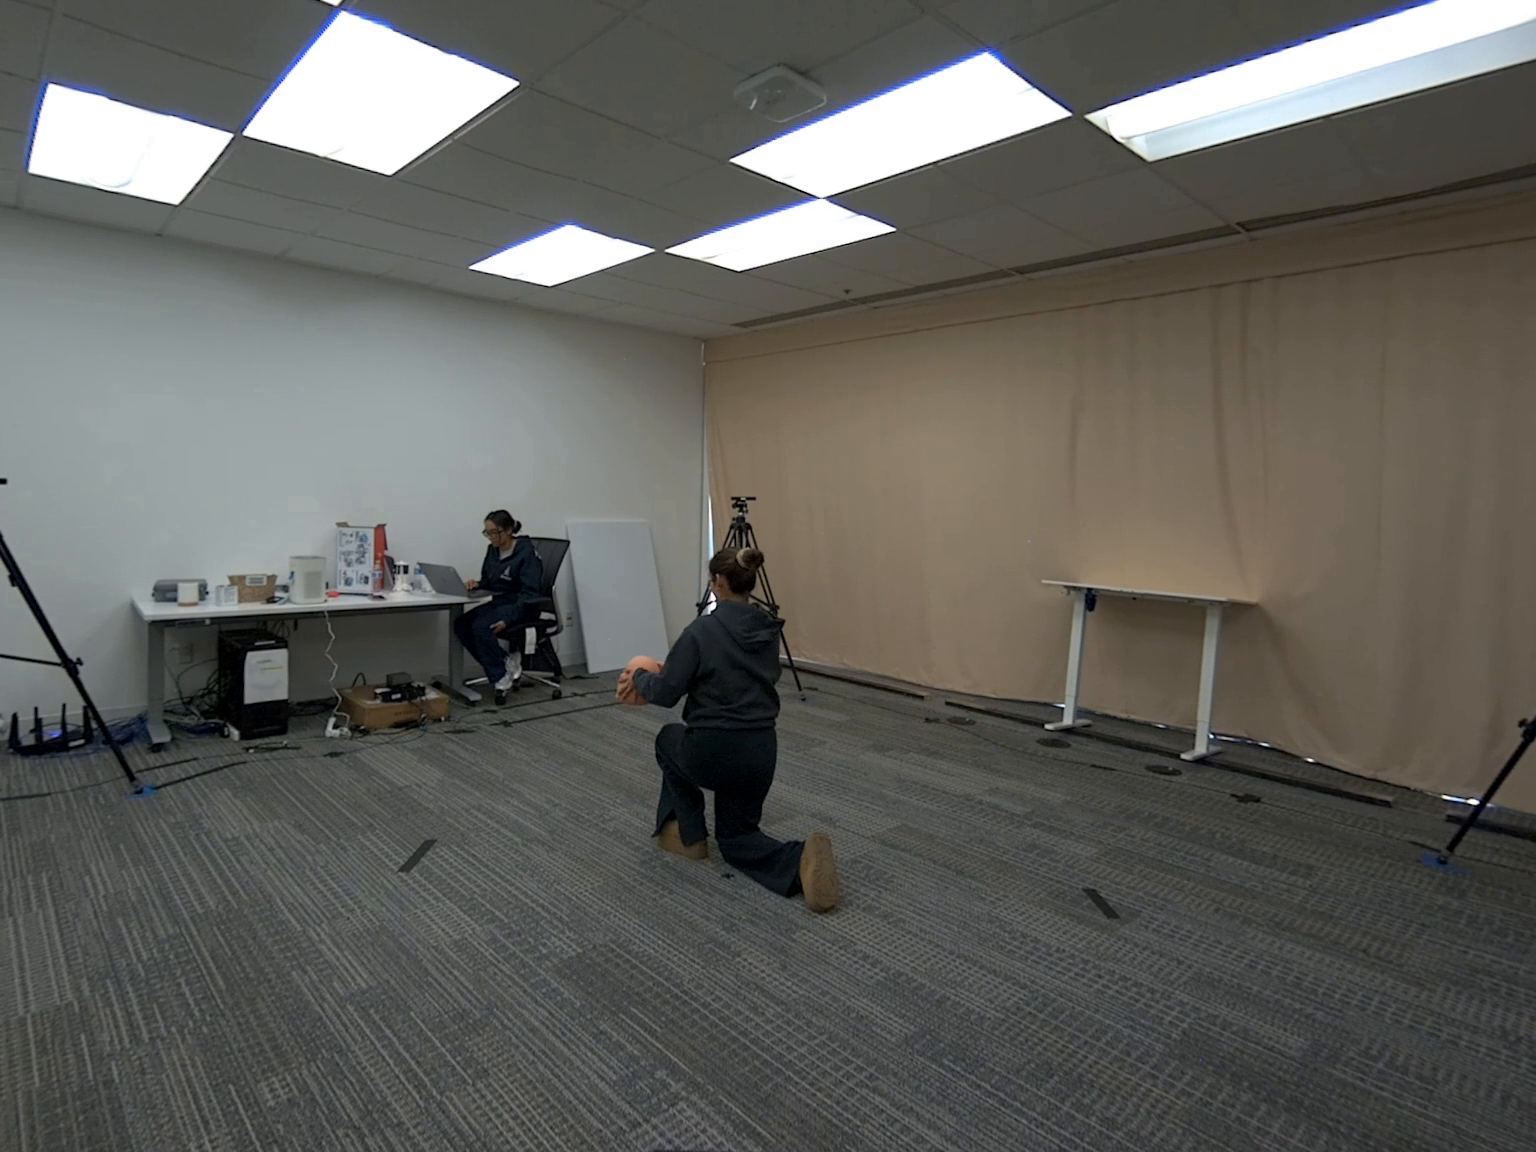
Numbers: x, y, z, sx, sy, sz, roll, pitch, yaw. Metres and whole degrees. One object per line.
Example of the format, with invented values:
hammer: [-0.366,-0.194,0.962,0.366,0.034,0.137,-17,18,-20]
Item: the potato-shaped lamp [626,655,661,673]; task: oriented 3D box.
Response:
potato-shaped lamp: [-0.528,0.424,3.465,0.176,0.197,0.161,14,10,35]
